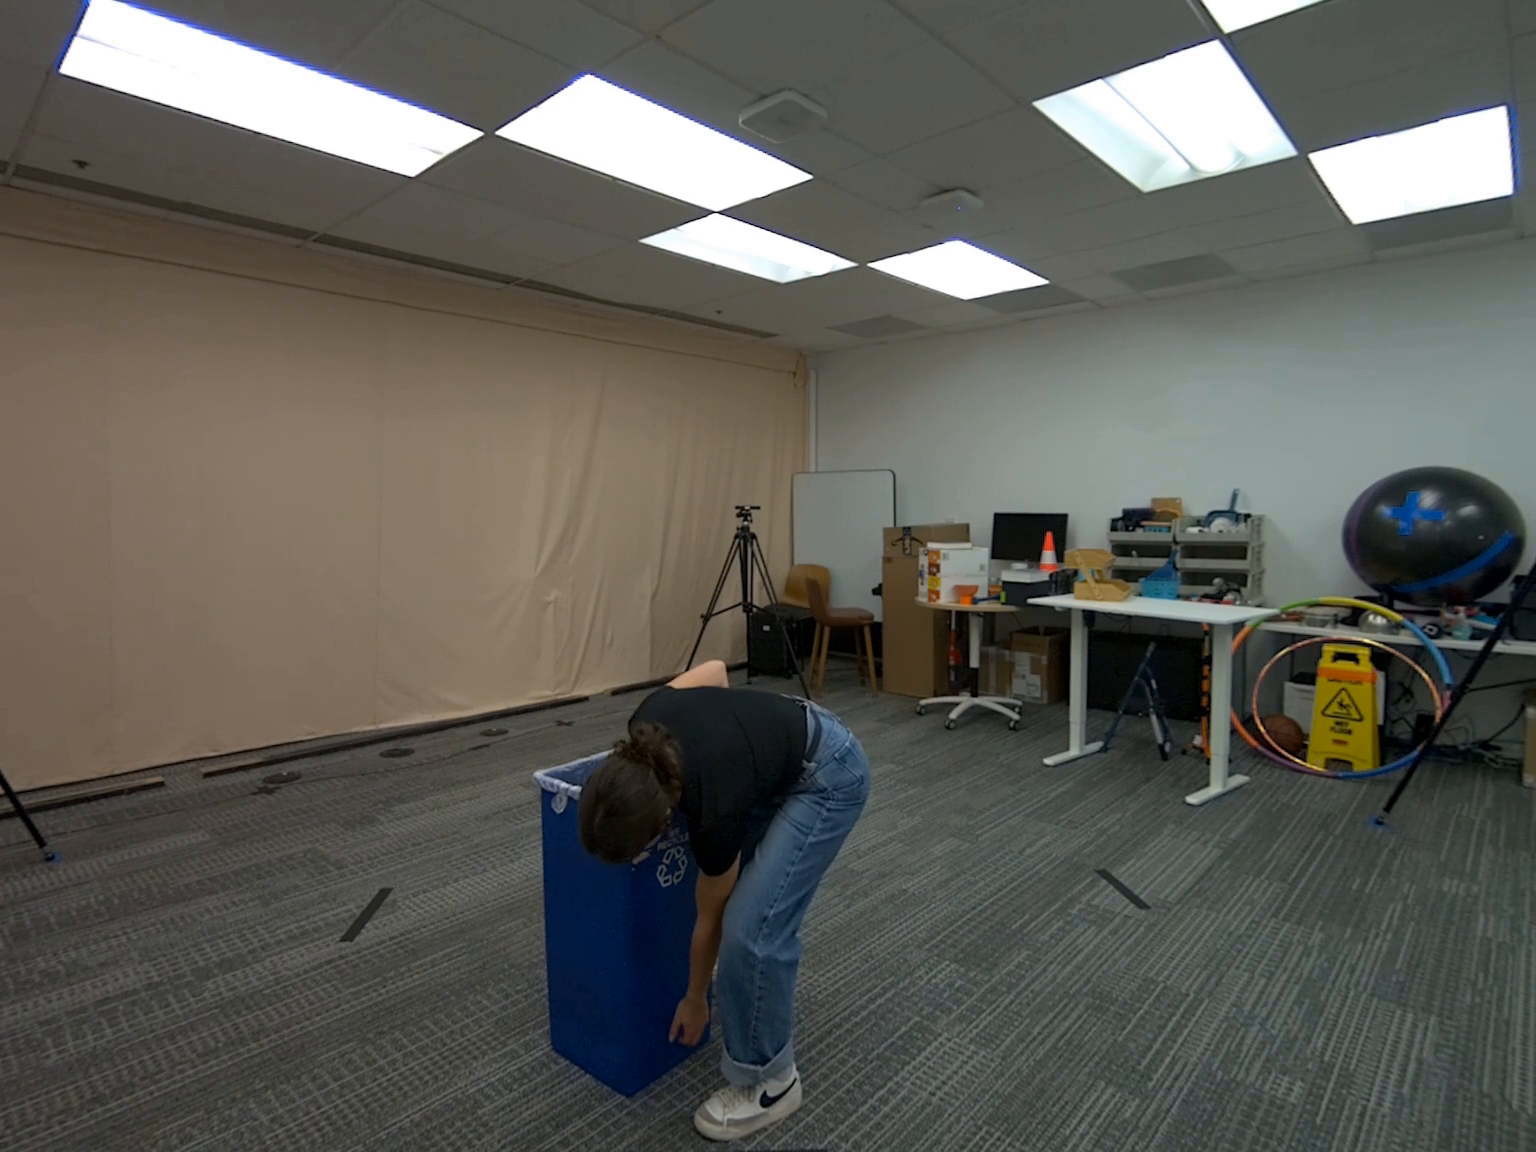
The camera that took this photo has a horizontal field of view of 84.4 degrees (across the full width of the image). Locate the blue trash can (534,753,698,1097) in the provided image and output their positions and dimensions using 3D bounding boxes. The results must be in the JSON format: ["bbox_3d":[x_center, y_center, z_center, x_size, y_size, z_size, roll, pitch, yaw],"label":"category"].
[{"bbox_3d":[-0.366,0.860,2.169,0.386,0.712,0.367,2,4,39],"label":"blue trash can"}]
